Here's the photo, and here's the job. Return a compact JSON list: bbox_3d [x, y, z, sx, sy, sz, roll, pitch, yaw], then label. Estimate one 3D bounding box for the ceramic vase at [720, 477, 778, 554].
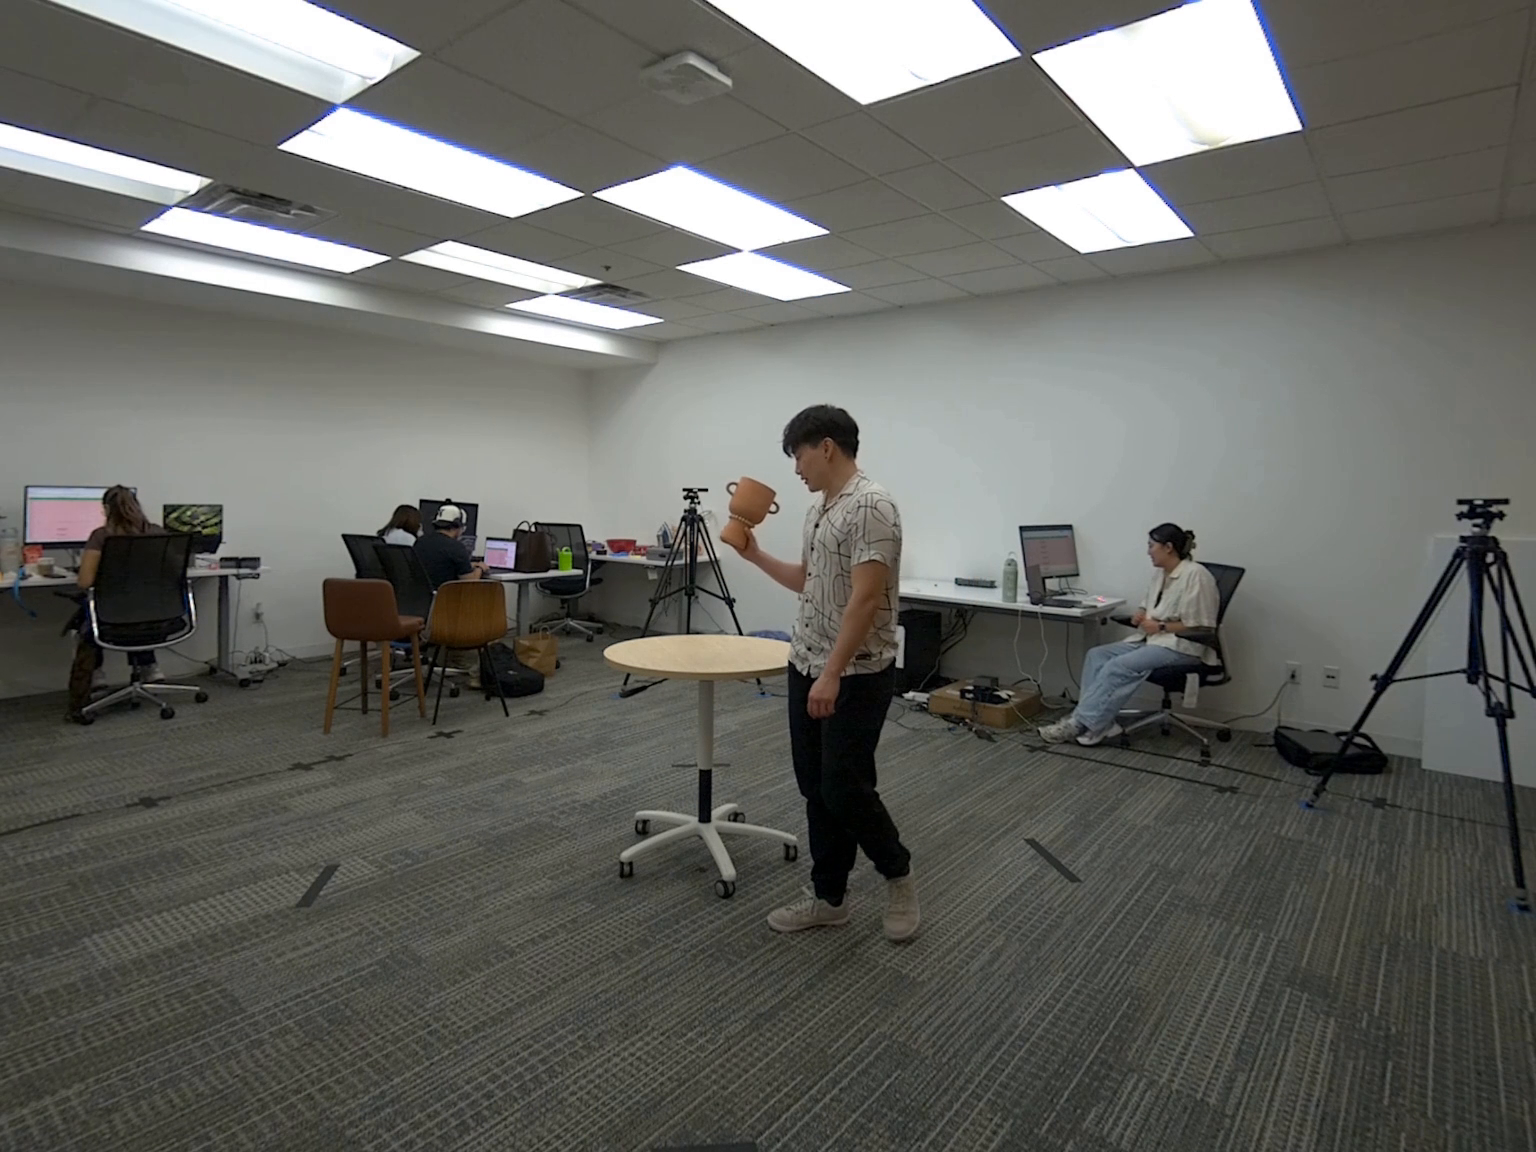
[{"bbox_3d":[-0.078,-0.217,2.902,0.165,0.220,0.129,21,-5,33],"label":"ceramic vase"}]
